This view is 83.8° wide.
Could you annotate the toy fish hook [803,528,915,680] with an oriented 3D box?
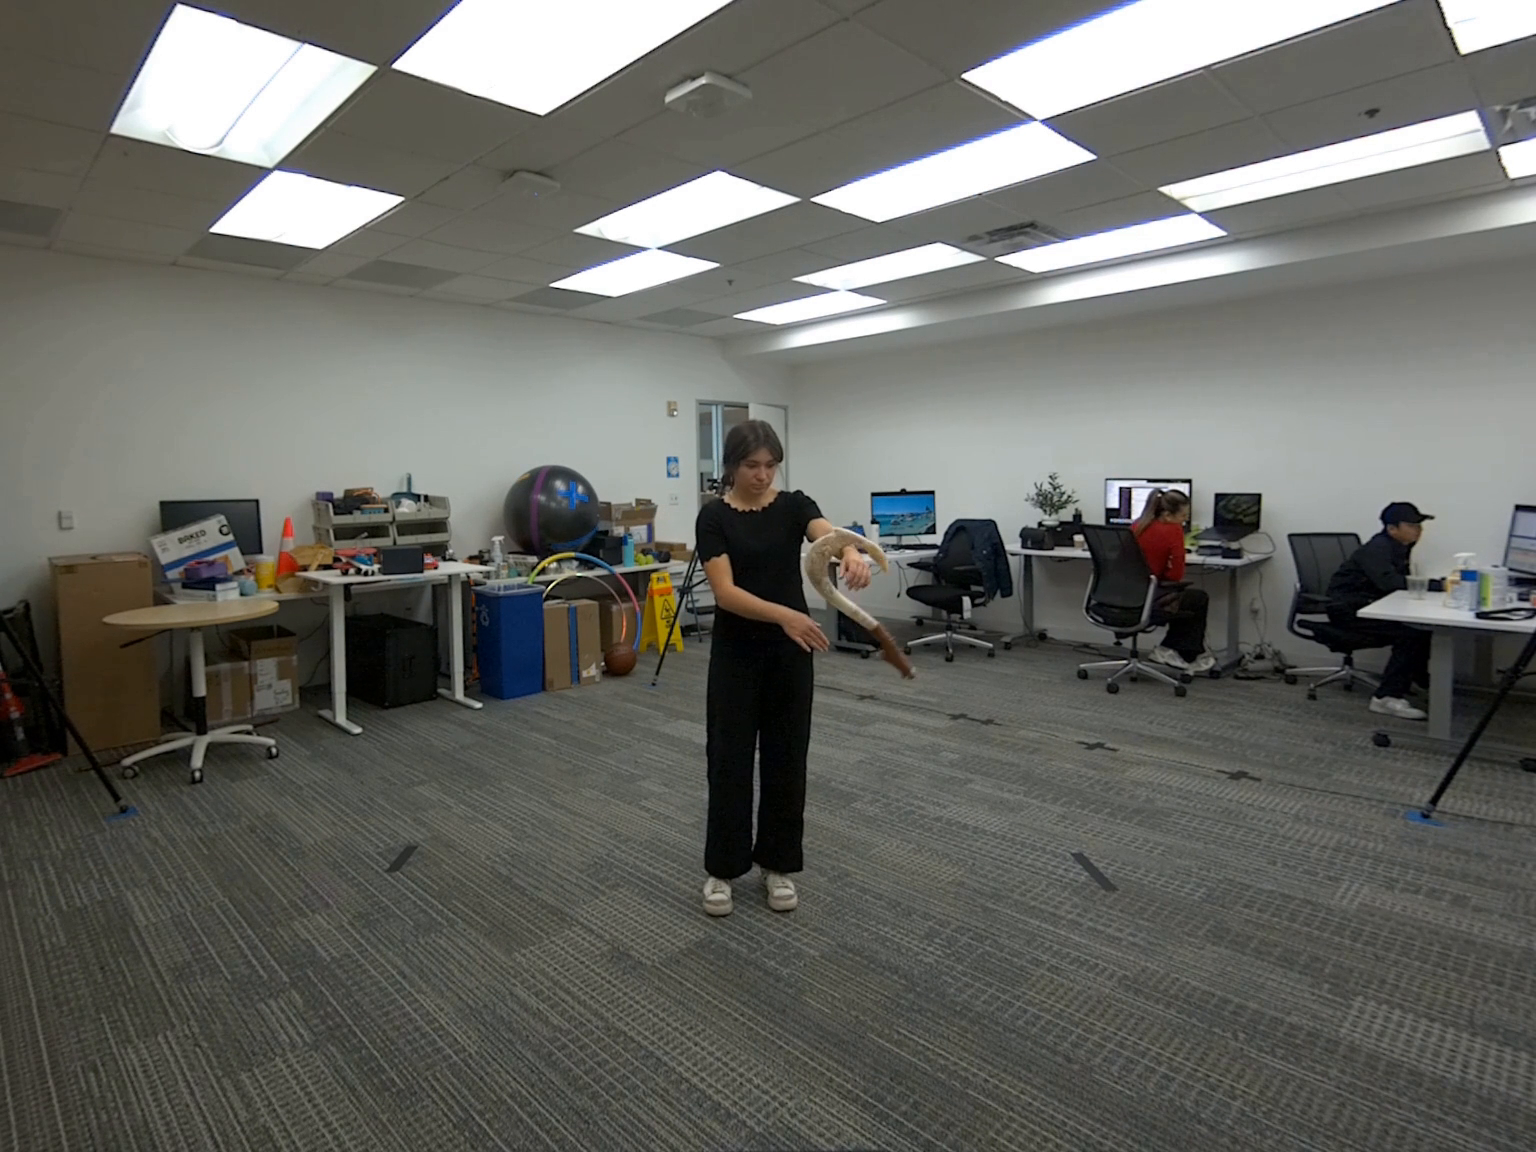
[{"bbox_3d":[0.308,0.073,2.486,0.226,0.502,0.048,-35,7,21],"label":"toy fish hook"}]
